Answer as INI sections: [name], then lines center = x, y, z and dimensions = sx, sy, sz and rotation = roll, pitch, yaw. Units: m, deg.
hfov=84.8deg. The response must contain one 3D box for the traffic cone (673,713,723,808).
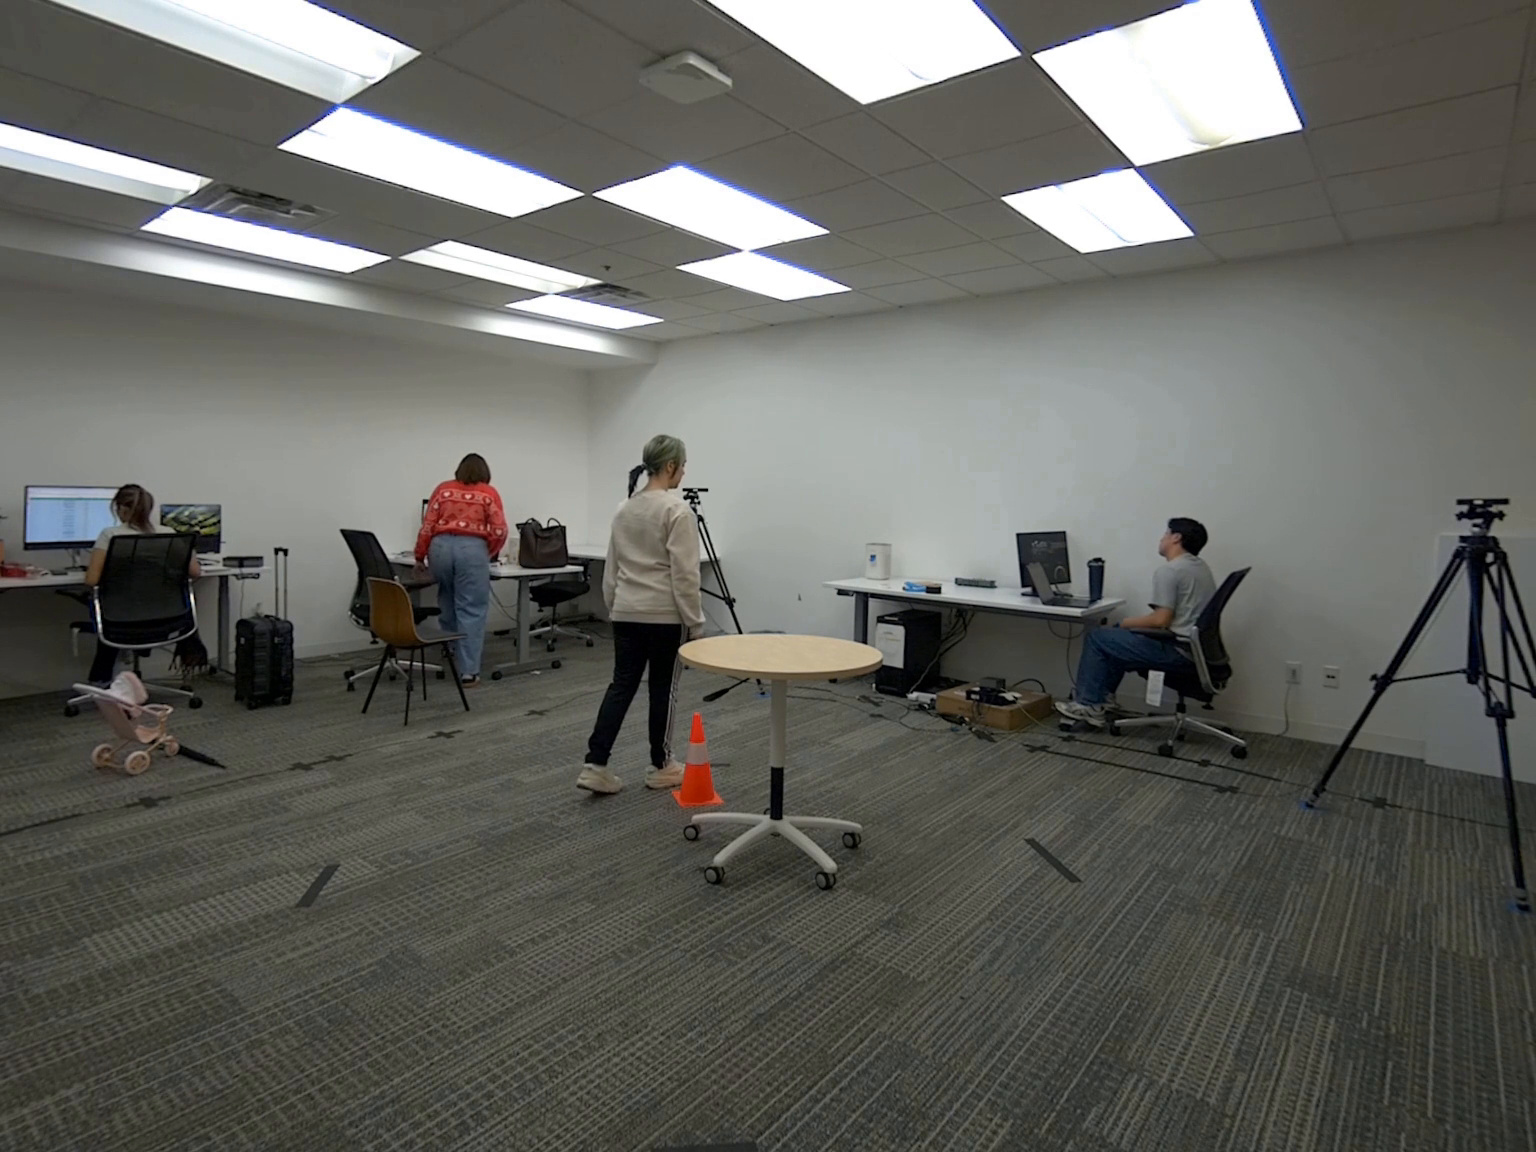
[traffic cone]
center = -0.334, 0.814, 3.843
dimensions = 0.200, 0.383, 0.208
rotation = -1, 1, -16
